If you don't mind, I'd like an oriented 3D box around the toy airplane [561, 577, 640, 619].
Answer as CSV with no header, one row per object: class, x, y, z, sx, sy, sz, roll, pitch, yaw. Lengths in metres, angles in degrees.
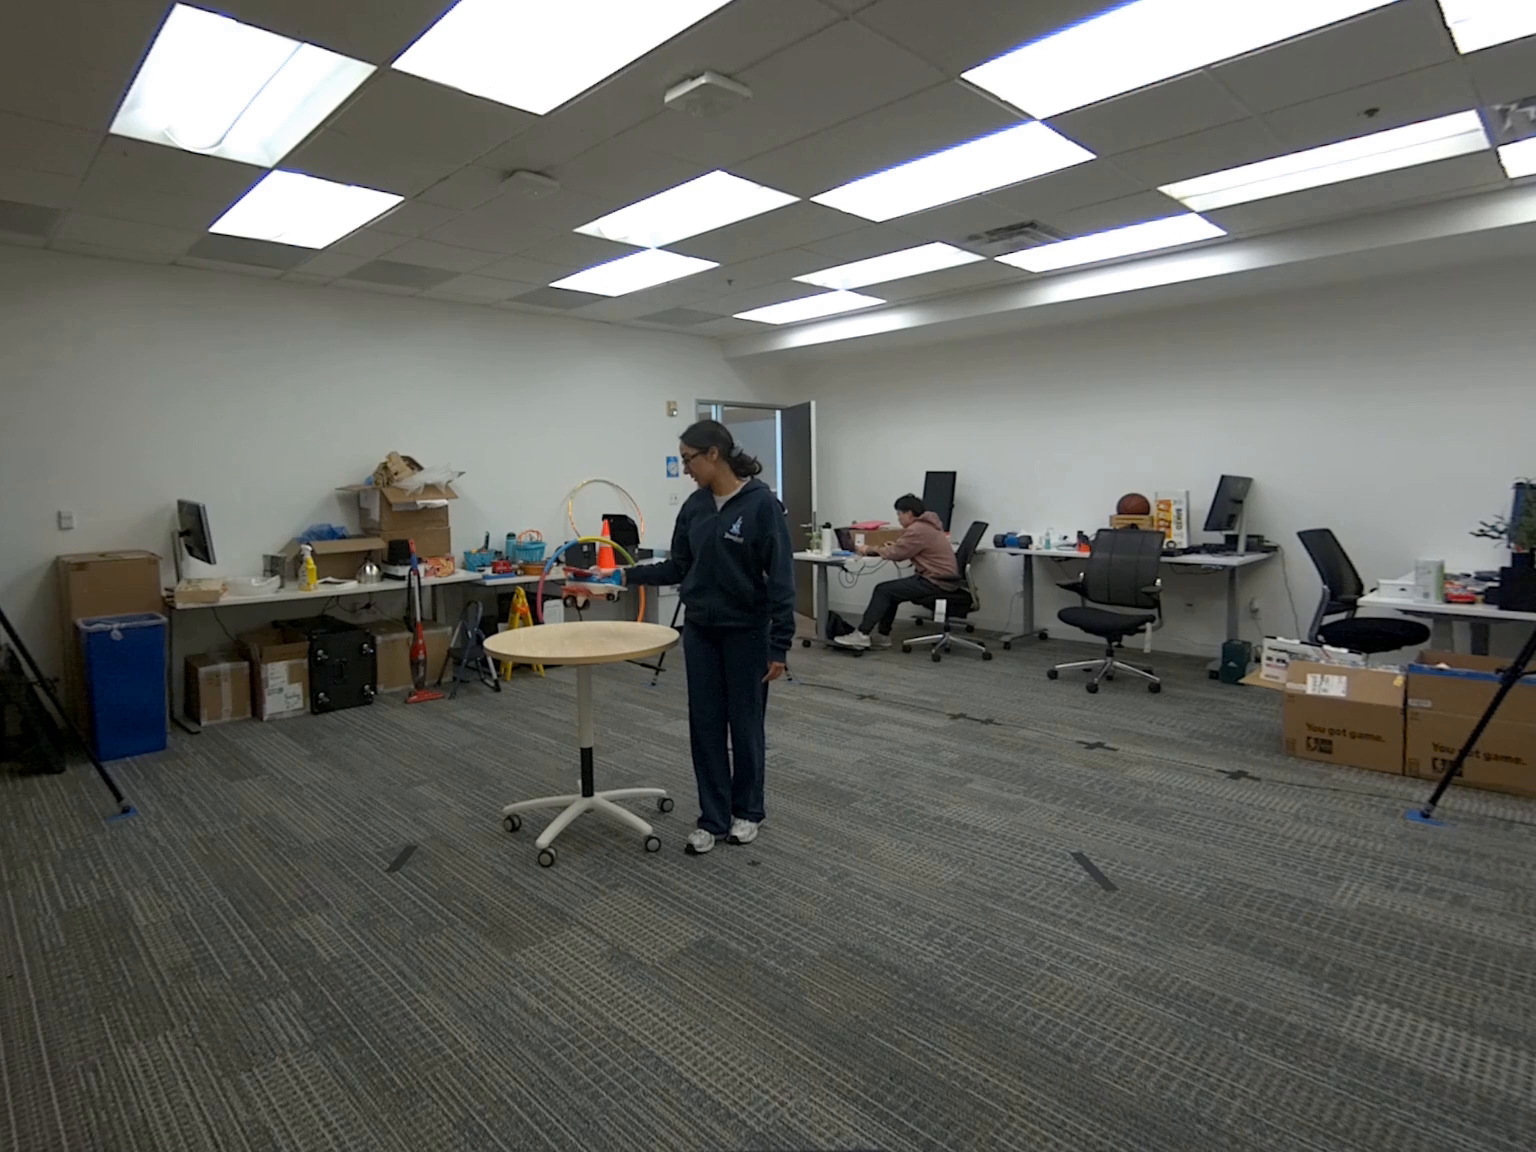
toy airplane,-0.681,0.046,3.393,0.258,0.159,0.248,-5,-15,-4
